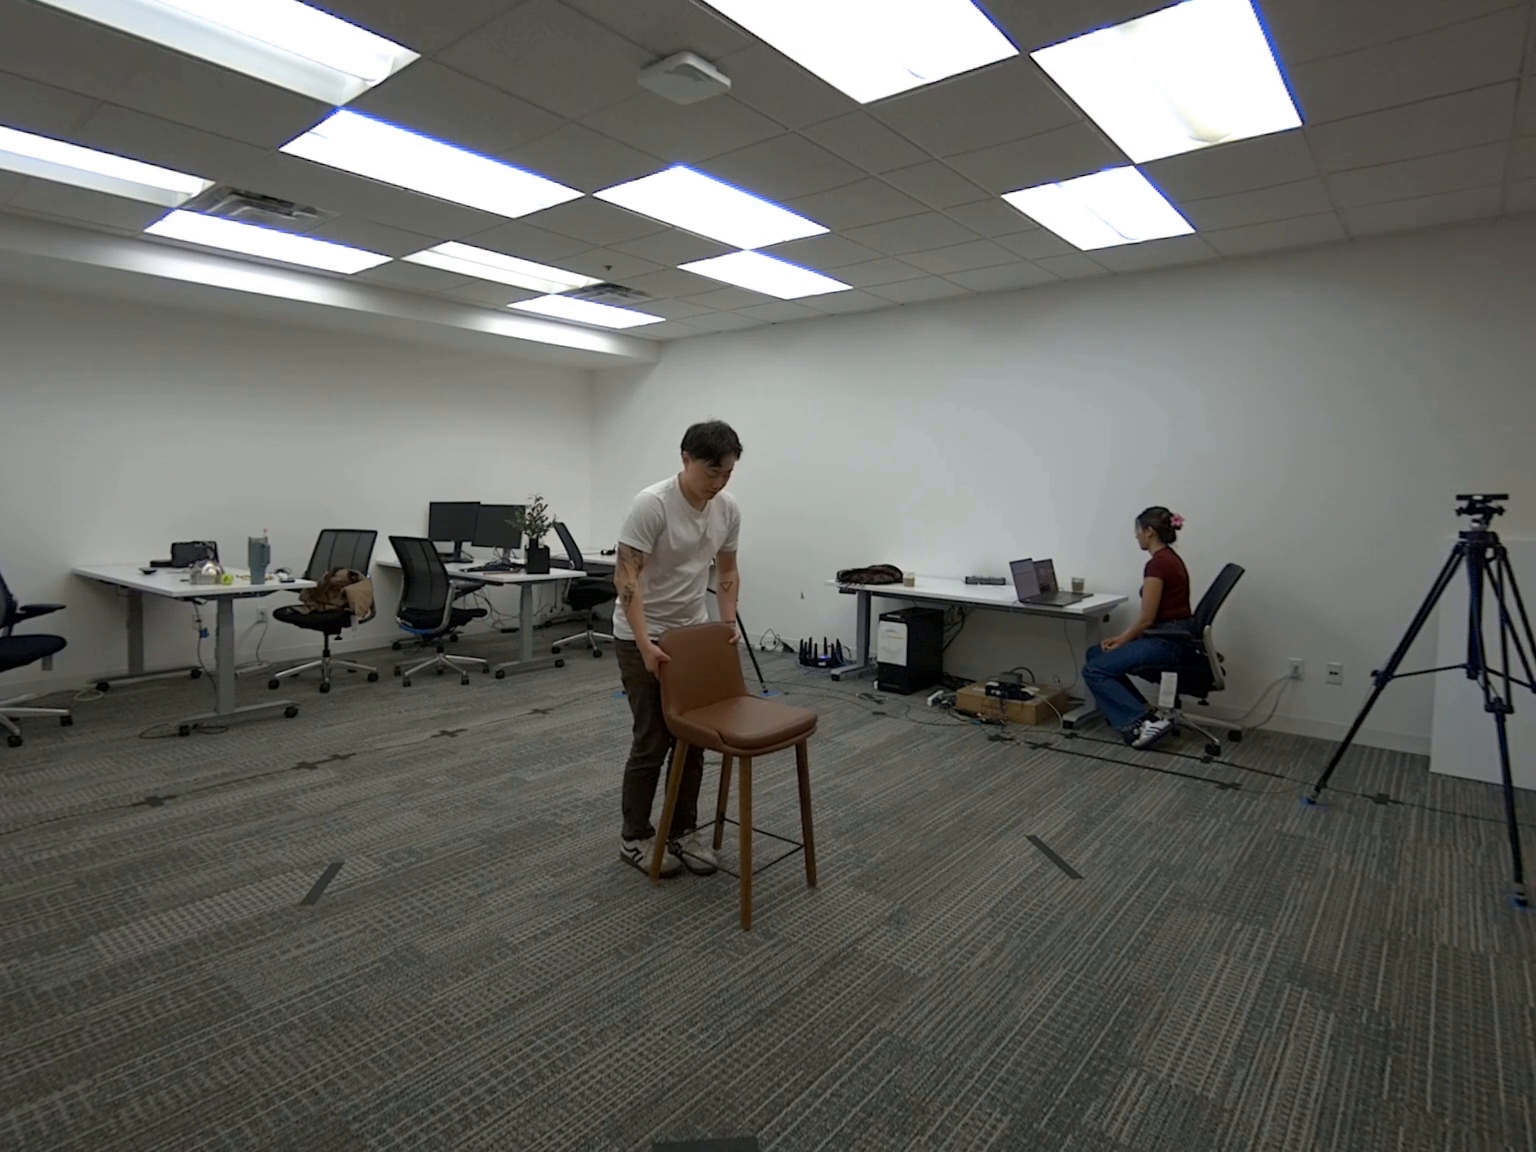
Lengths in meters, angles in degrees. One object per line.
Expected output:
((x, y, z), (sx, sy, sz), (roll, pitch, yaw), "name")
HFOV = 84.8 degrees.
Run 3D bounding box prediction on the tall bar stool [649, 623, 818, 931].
((-0.122, 0.635, 2.932), (0.483, 0.888, 0.443), (3, 4, 39), "tall bar stool")
